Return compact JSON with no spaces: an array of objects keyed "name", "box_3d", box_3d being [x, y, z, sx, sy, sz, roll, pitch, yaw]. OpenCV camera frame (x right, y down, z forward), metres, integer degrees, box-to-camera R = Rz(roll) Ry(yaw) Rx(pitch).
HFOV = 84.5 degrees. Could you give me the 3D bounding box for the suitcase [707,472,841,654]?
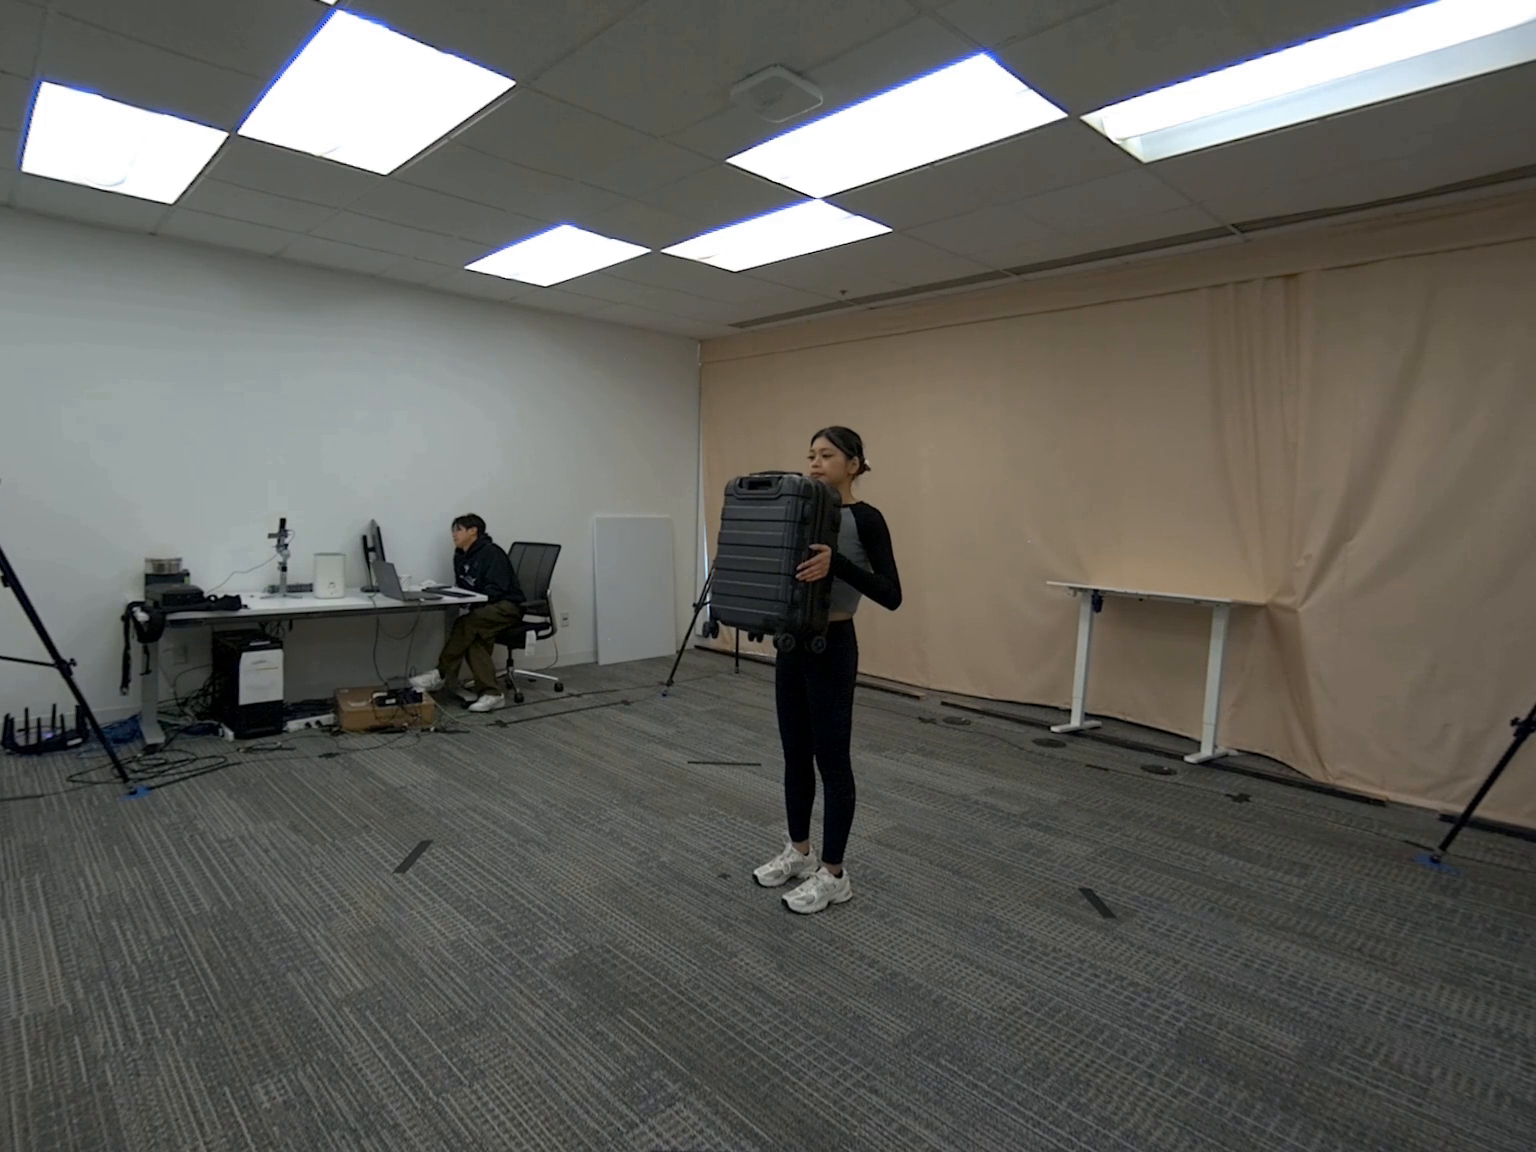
[{"name":"suitcase","box_3d":[0.014,-0.054,2.697,0.385,0.551,0.241,2,-6,45]}]
